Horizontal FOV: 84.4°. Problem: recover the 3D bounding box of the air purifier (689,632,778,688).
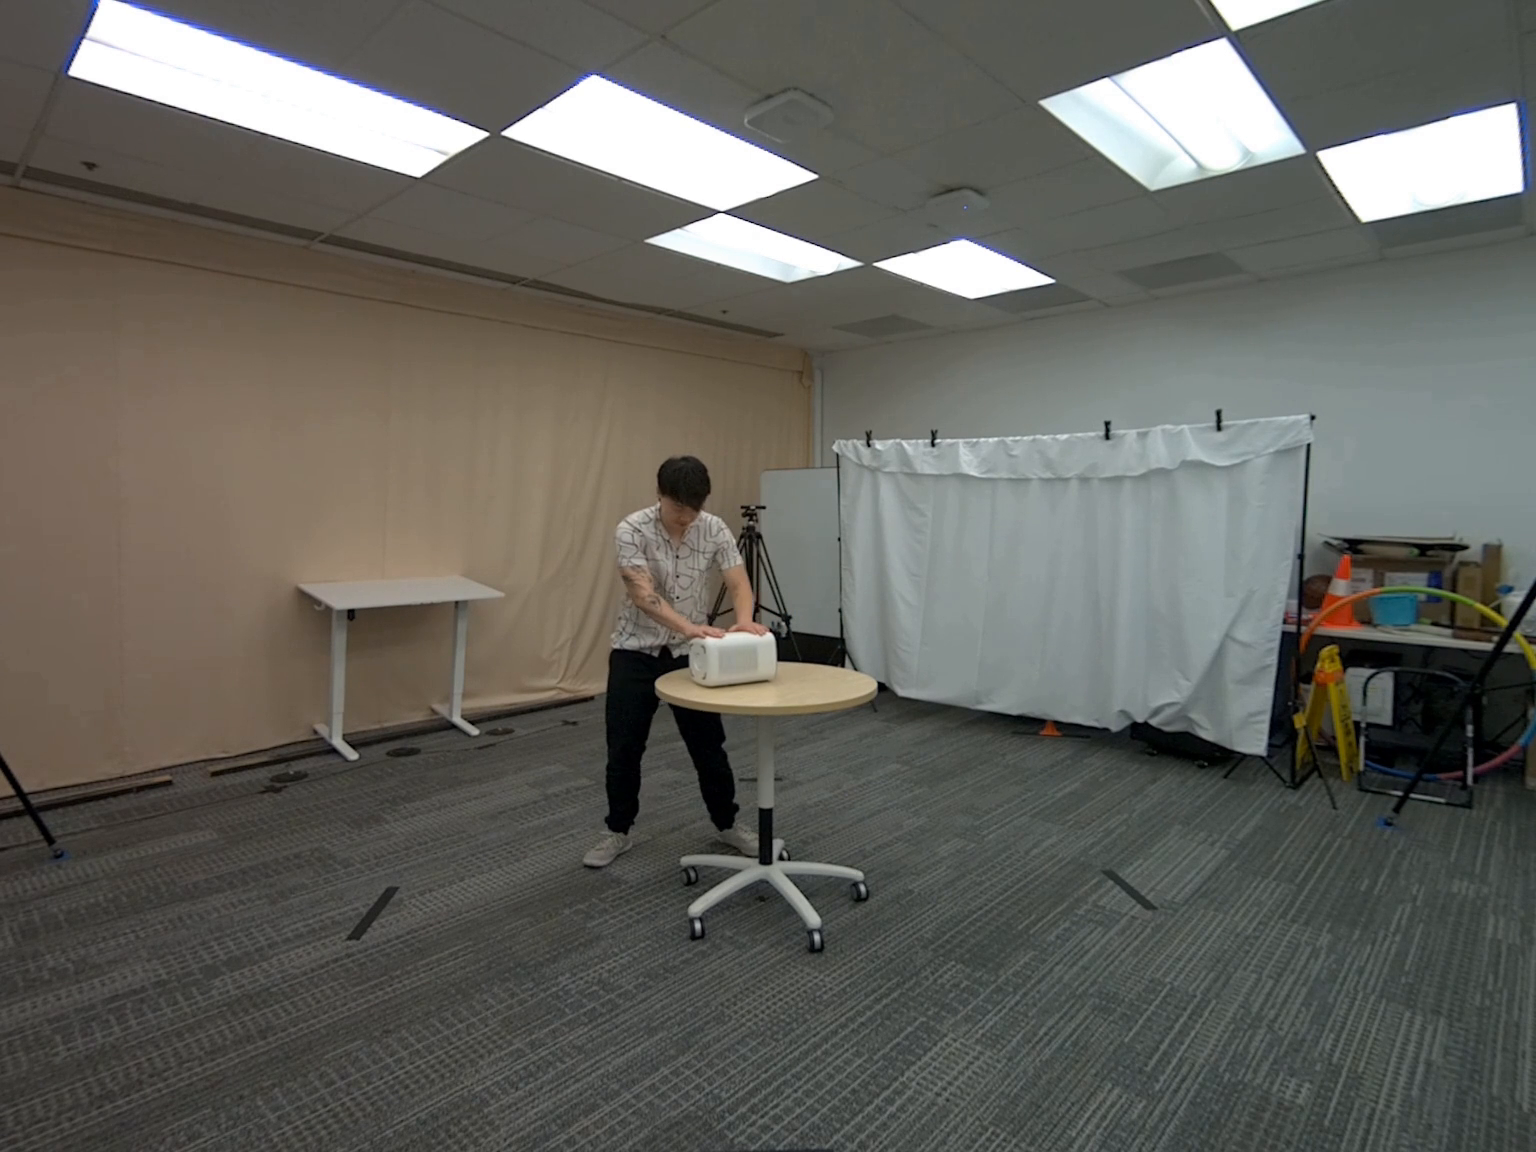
[{"bbox_3d":[-0.123,0.280,2.903,0.258,0.171,0.176,-3,2,-29],"label":"air purifier"}]
